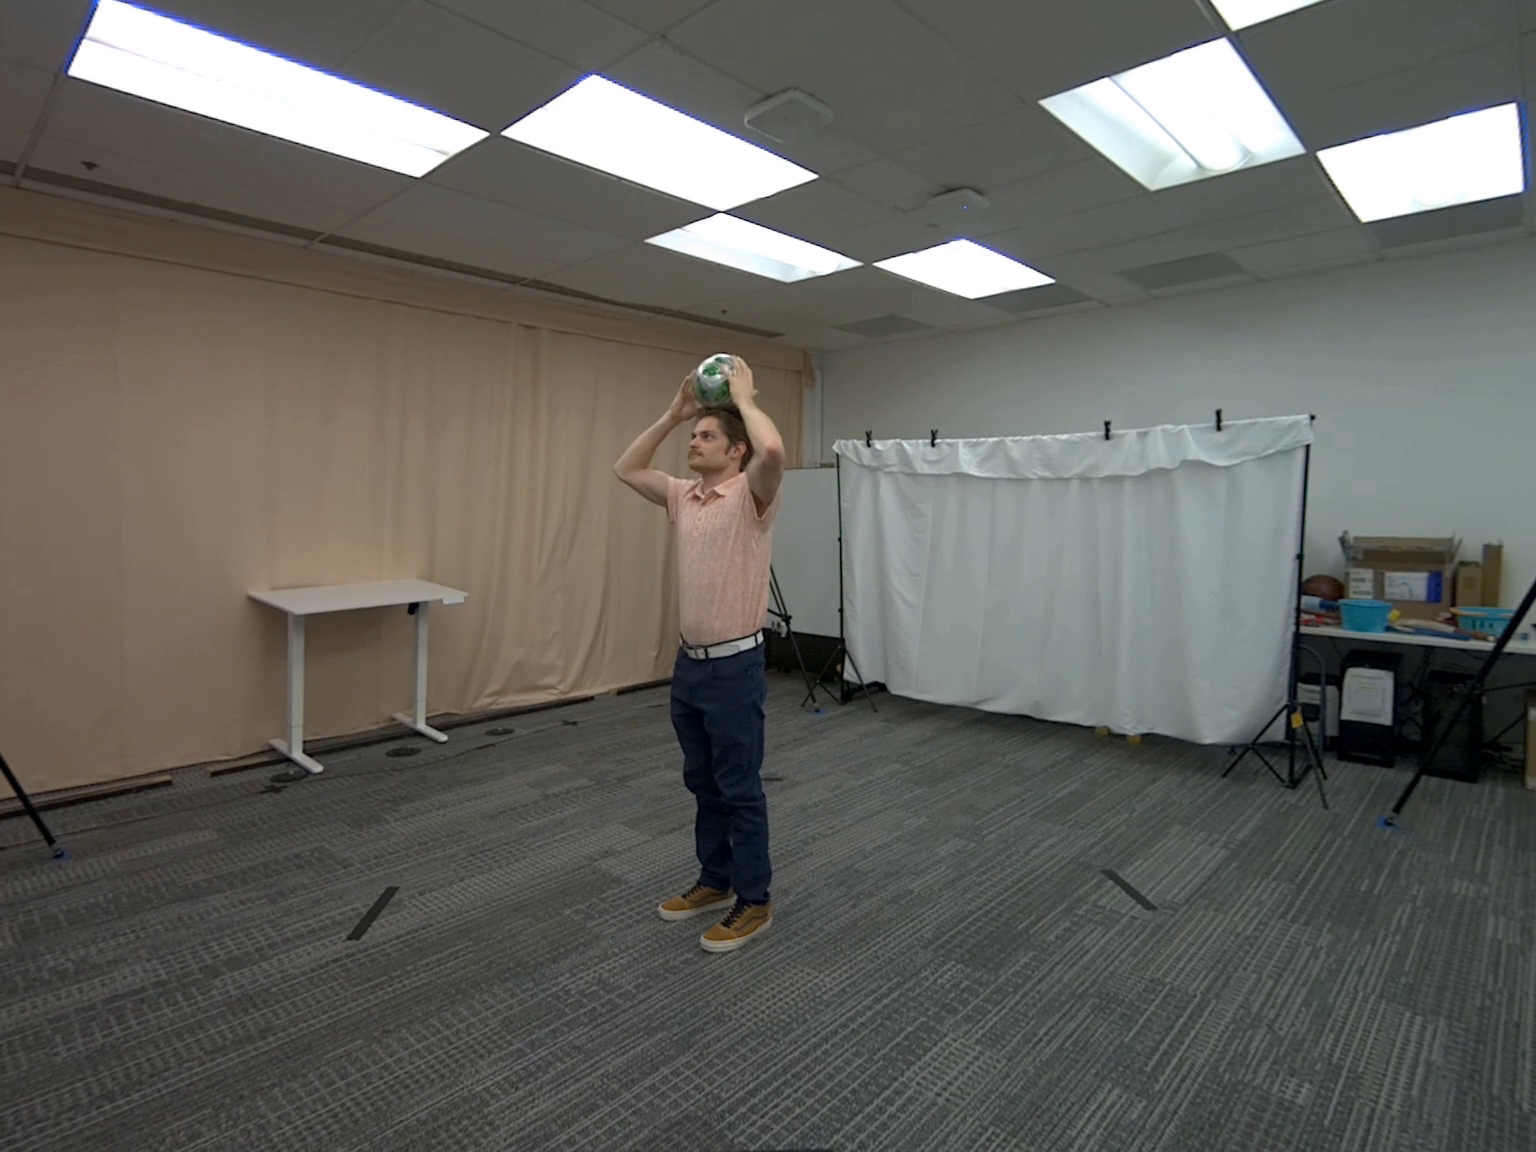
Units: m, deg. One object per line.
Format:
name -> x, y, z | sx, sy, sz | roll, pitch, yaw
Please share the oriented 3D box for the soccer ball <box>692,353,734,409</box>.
soccer ball -> -0.155, -0.626, 2.750 | 0.187, 0.187, 0.188 | 0, 4, -2
